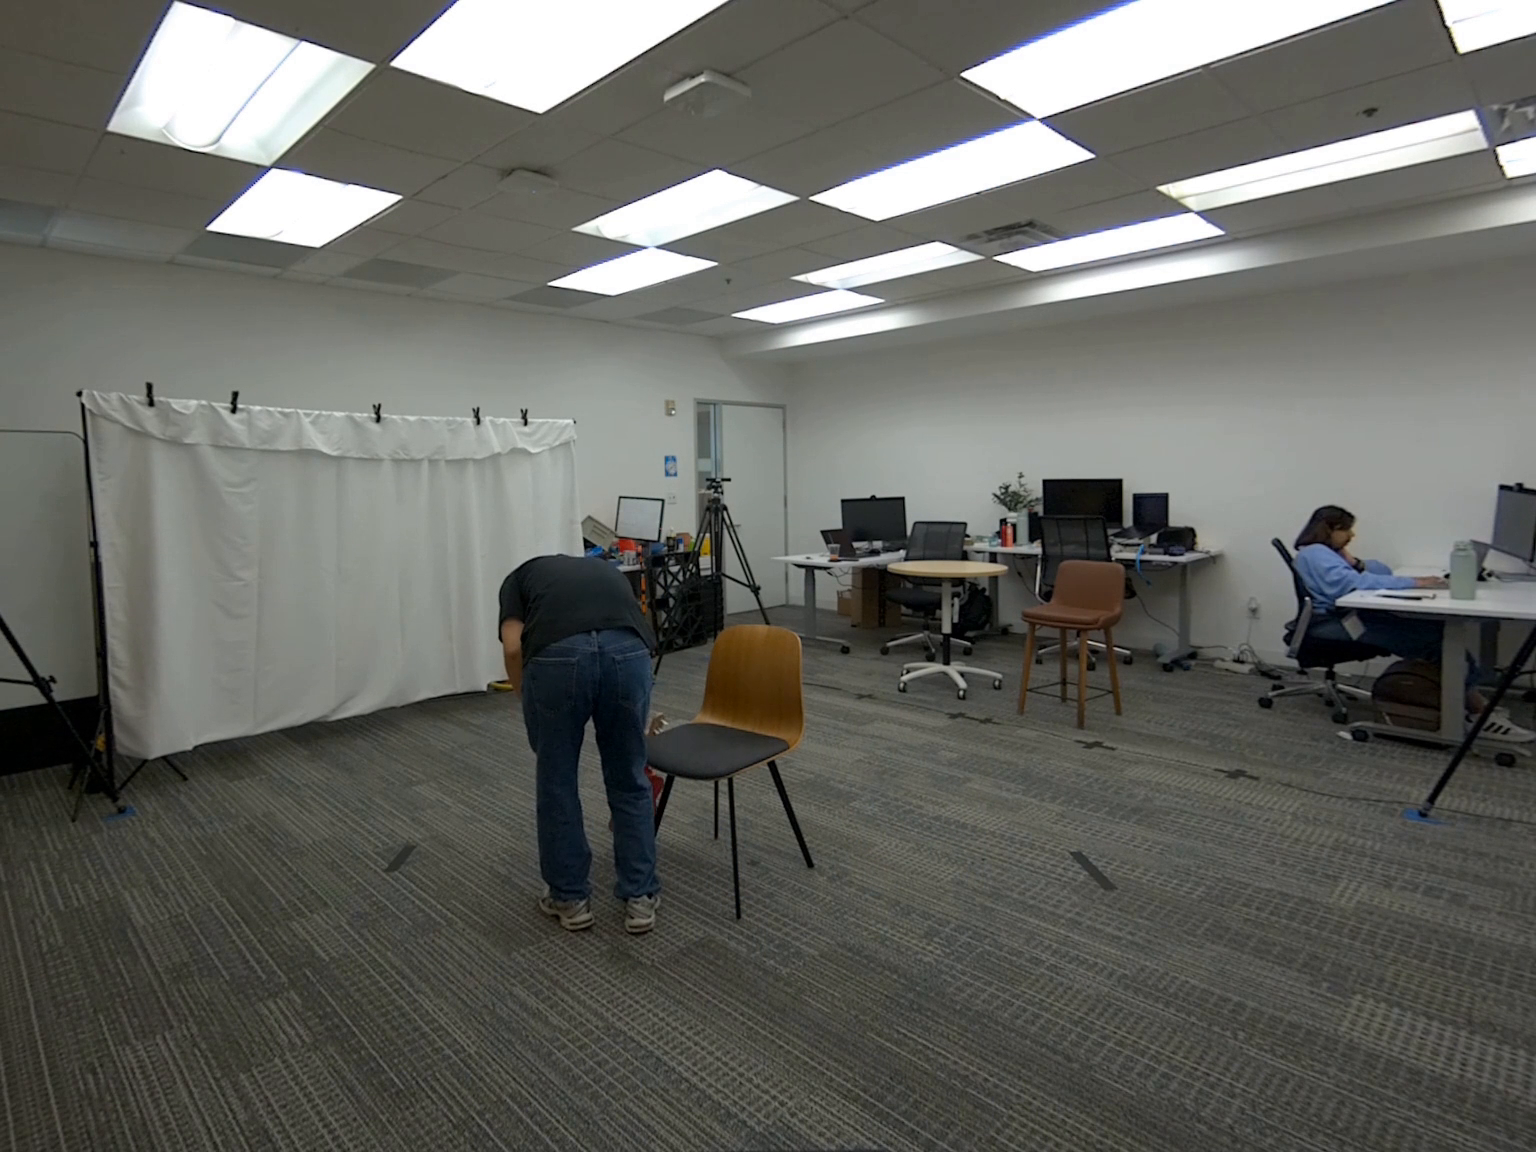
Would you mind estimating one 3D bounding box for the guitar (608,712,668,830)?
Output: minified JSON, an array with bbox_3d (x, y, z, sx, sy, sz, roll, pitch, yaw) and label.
[{"bbox_3d":[-0.463,0.745,3.130,0.073,0.491,0.188,29,28,37],"label":"guitar"}]
